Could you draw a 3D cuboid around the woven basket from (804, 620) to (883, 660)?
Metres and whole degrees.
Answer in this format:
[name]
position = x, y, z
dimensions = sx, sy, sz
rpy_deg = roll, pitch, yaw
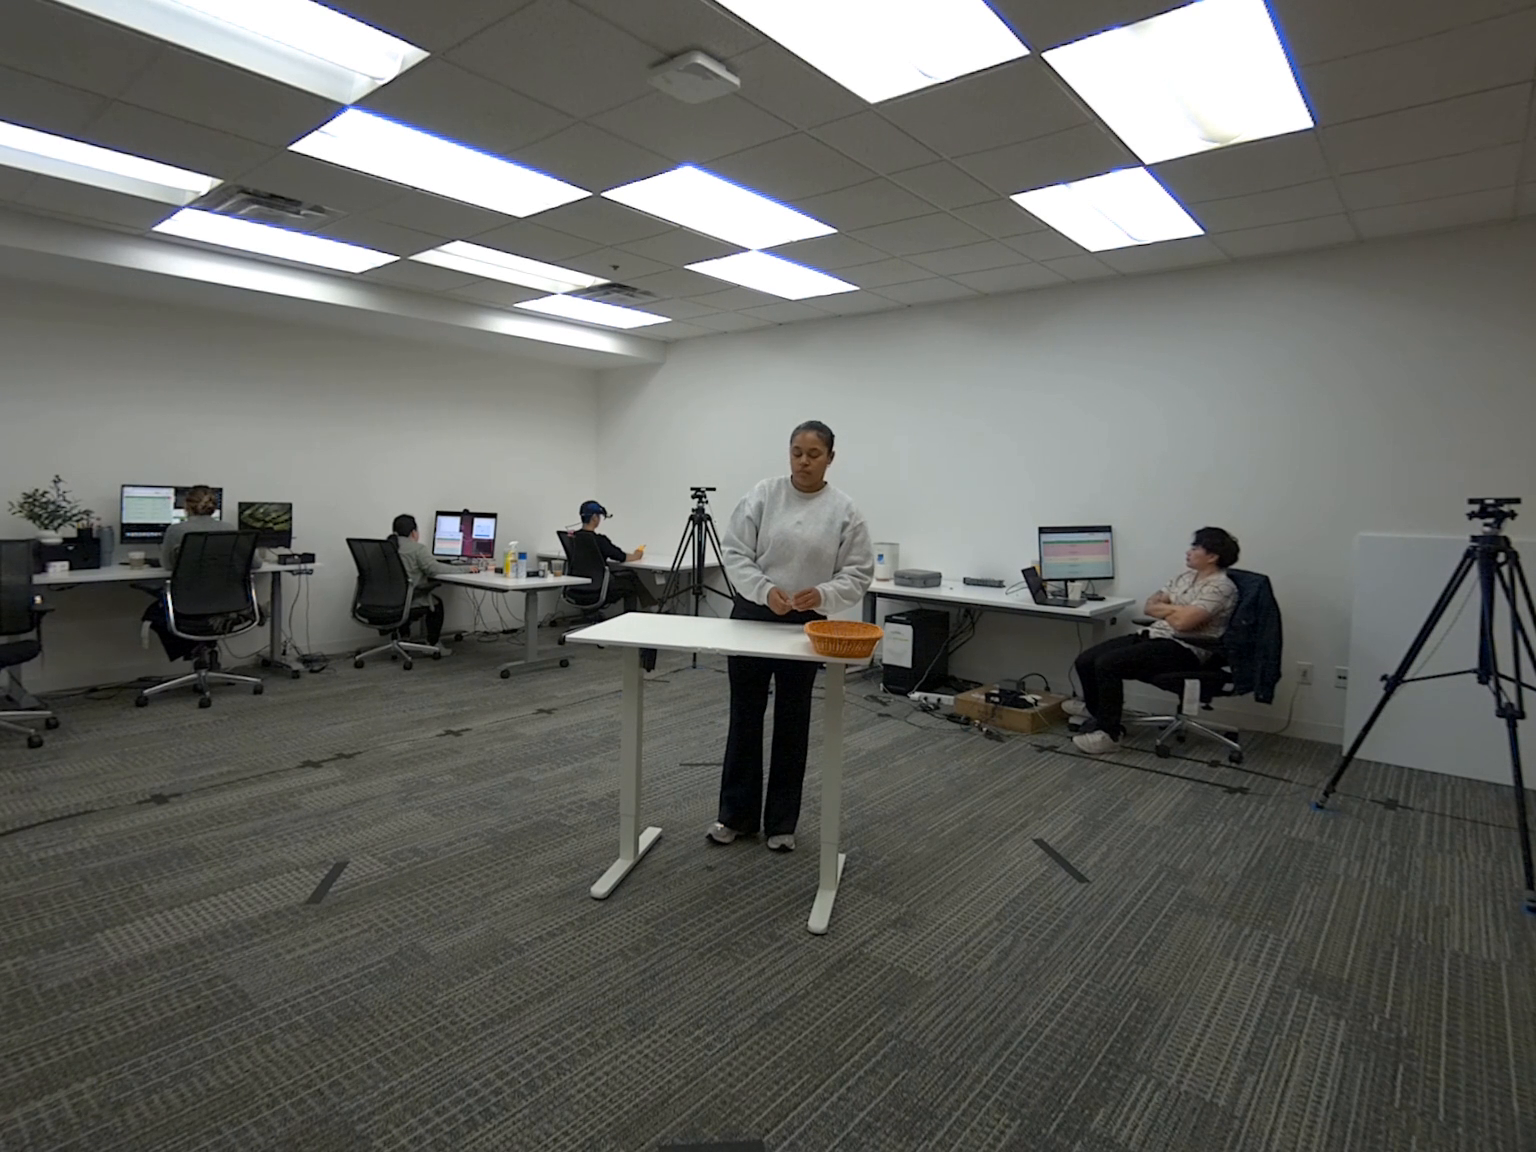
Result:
[woven basket]
position = 0.239, 0.202, 2.730
dimensions = 0.254, 0.073, 0.349
rpy_deg = 2, 6, 6
